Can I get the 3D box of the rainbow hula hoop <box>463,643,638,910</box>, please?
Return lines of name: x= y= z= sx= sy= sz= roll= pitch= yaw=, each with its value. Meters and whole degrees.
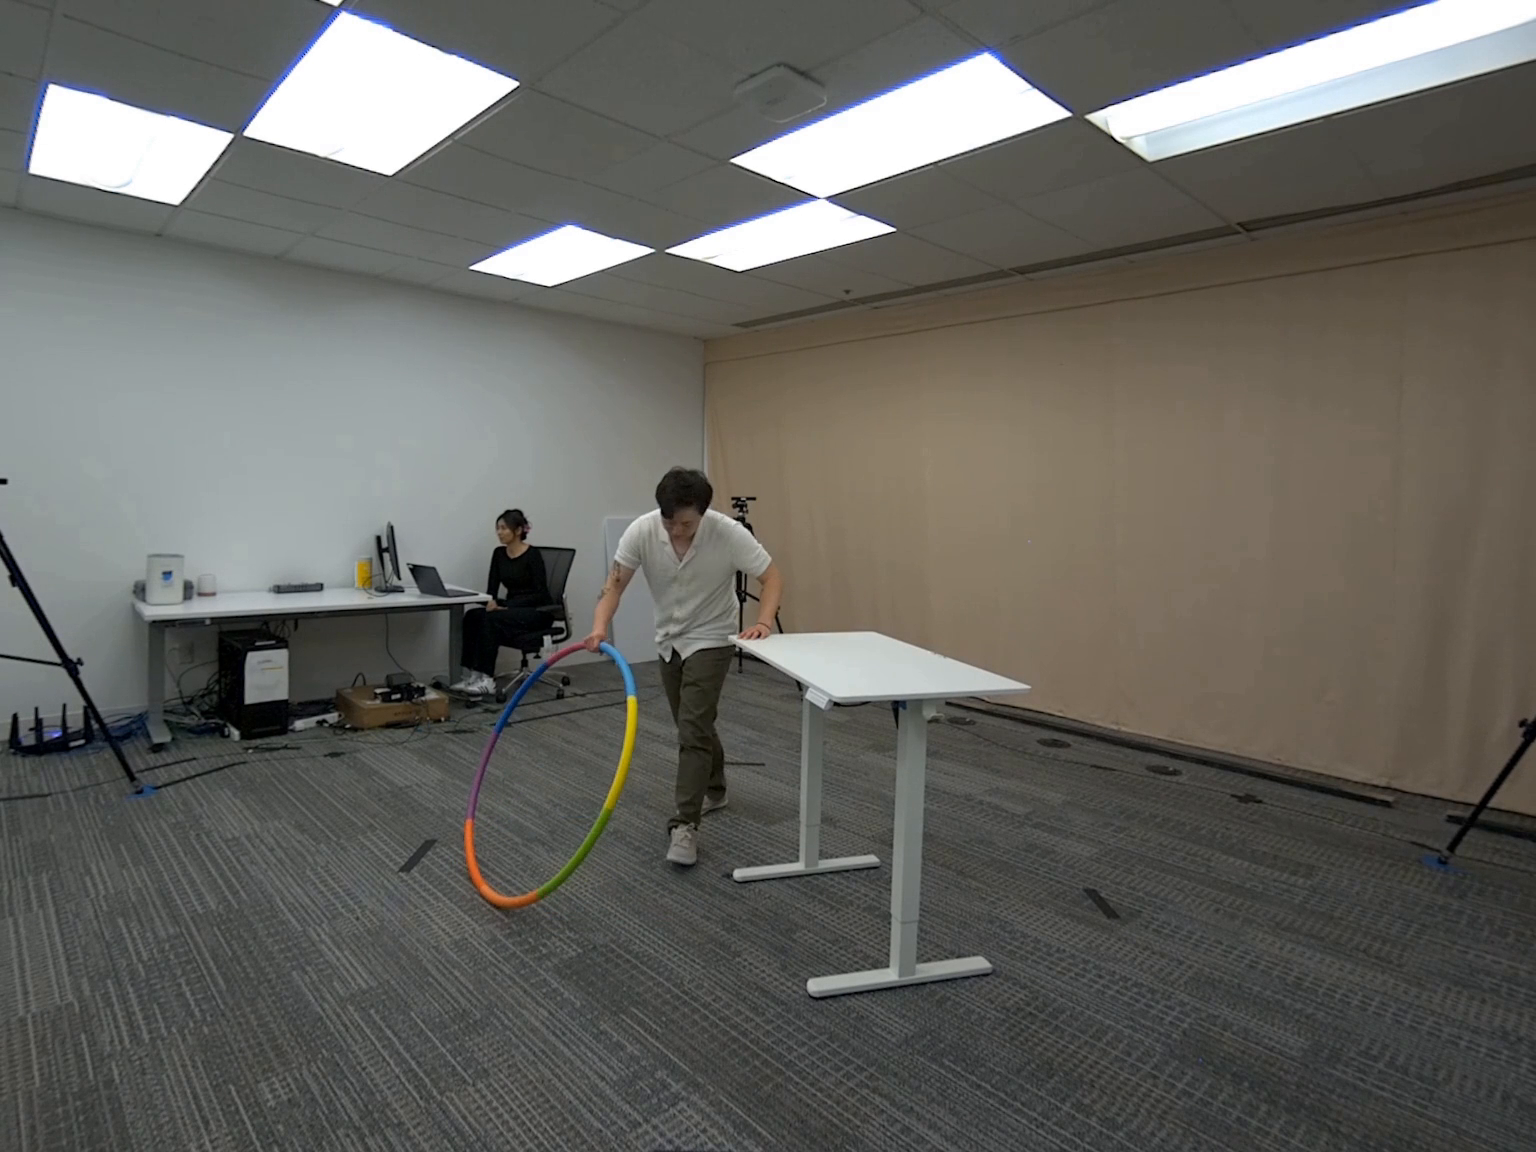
rainbow hula hoop: x=-0.803 y=0.682 z=3.008 sx=0.034 sy=0.983 sz=1.003 roll=34 pitch=-16 yaw=-34
